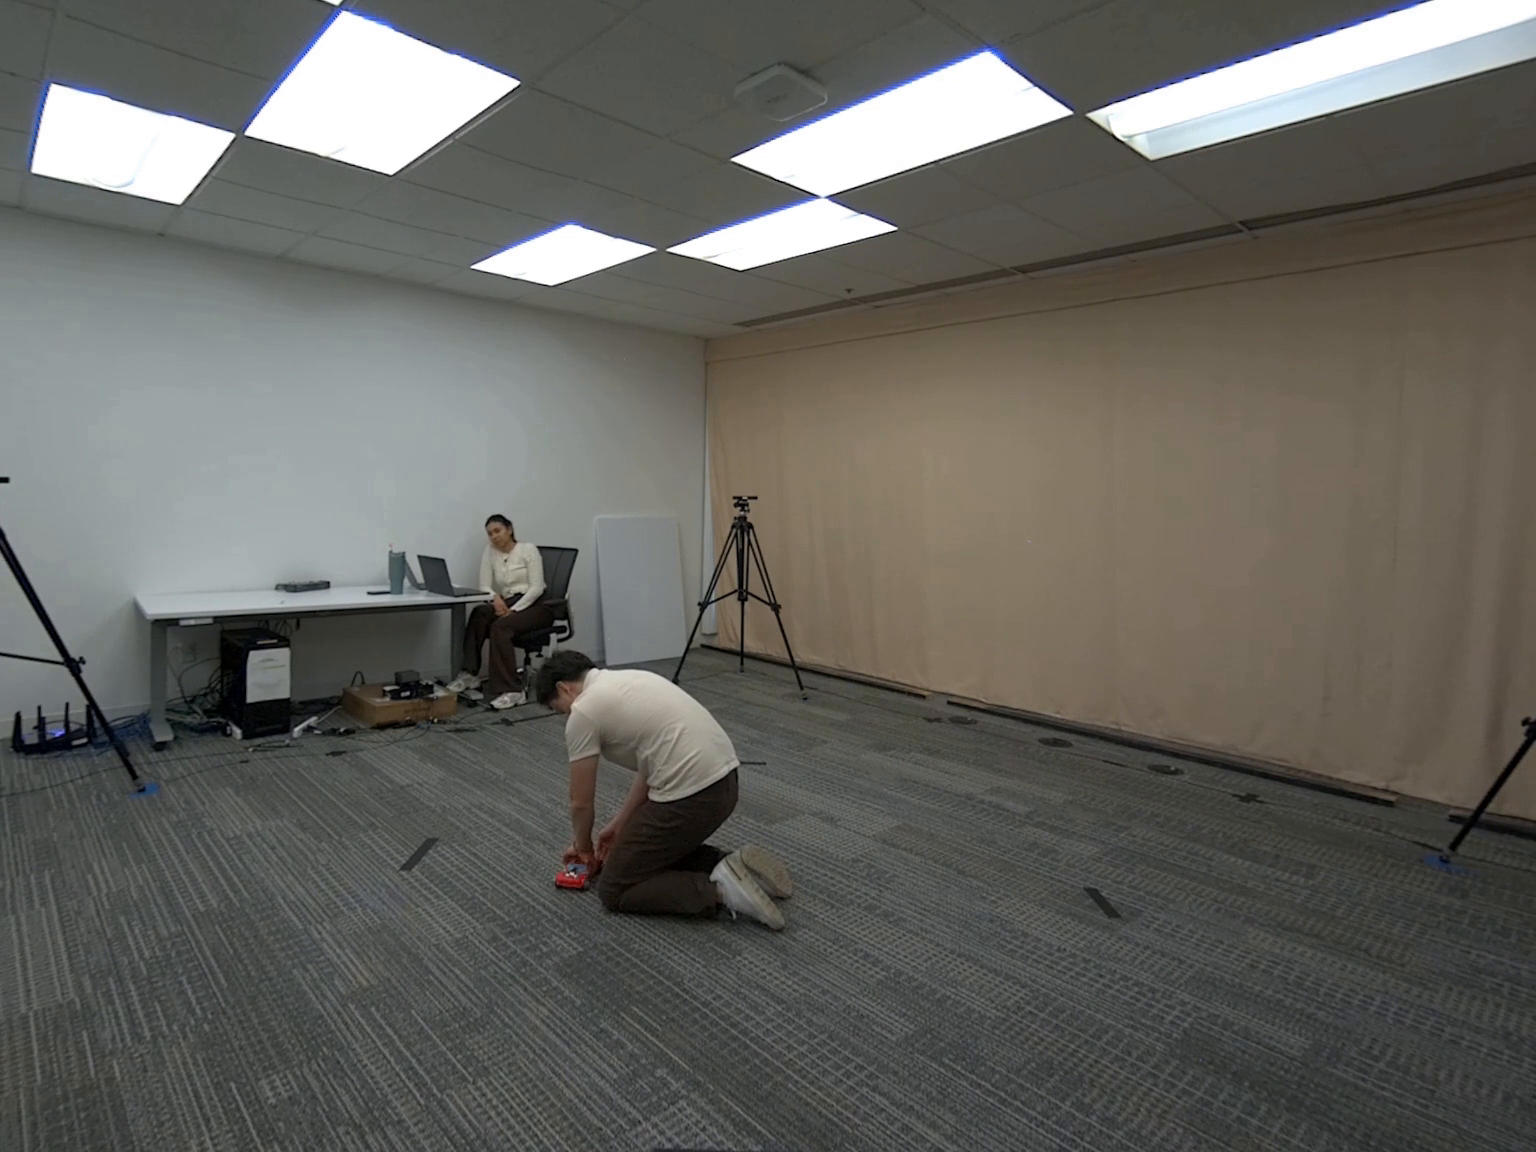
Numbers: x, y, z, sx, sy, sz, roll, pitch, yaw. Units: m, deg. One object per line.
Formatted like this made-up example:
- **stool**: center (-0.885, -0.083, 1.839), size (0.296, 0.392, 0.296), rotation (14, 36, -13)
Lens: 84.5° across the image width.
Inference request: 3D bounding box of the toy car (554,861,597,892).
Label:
- **toy car**: center (-0.673, 1.057, 3.071), size (0.131, 0.082, 0.255), rotation (0, 16, 11)
